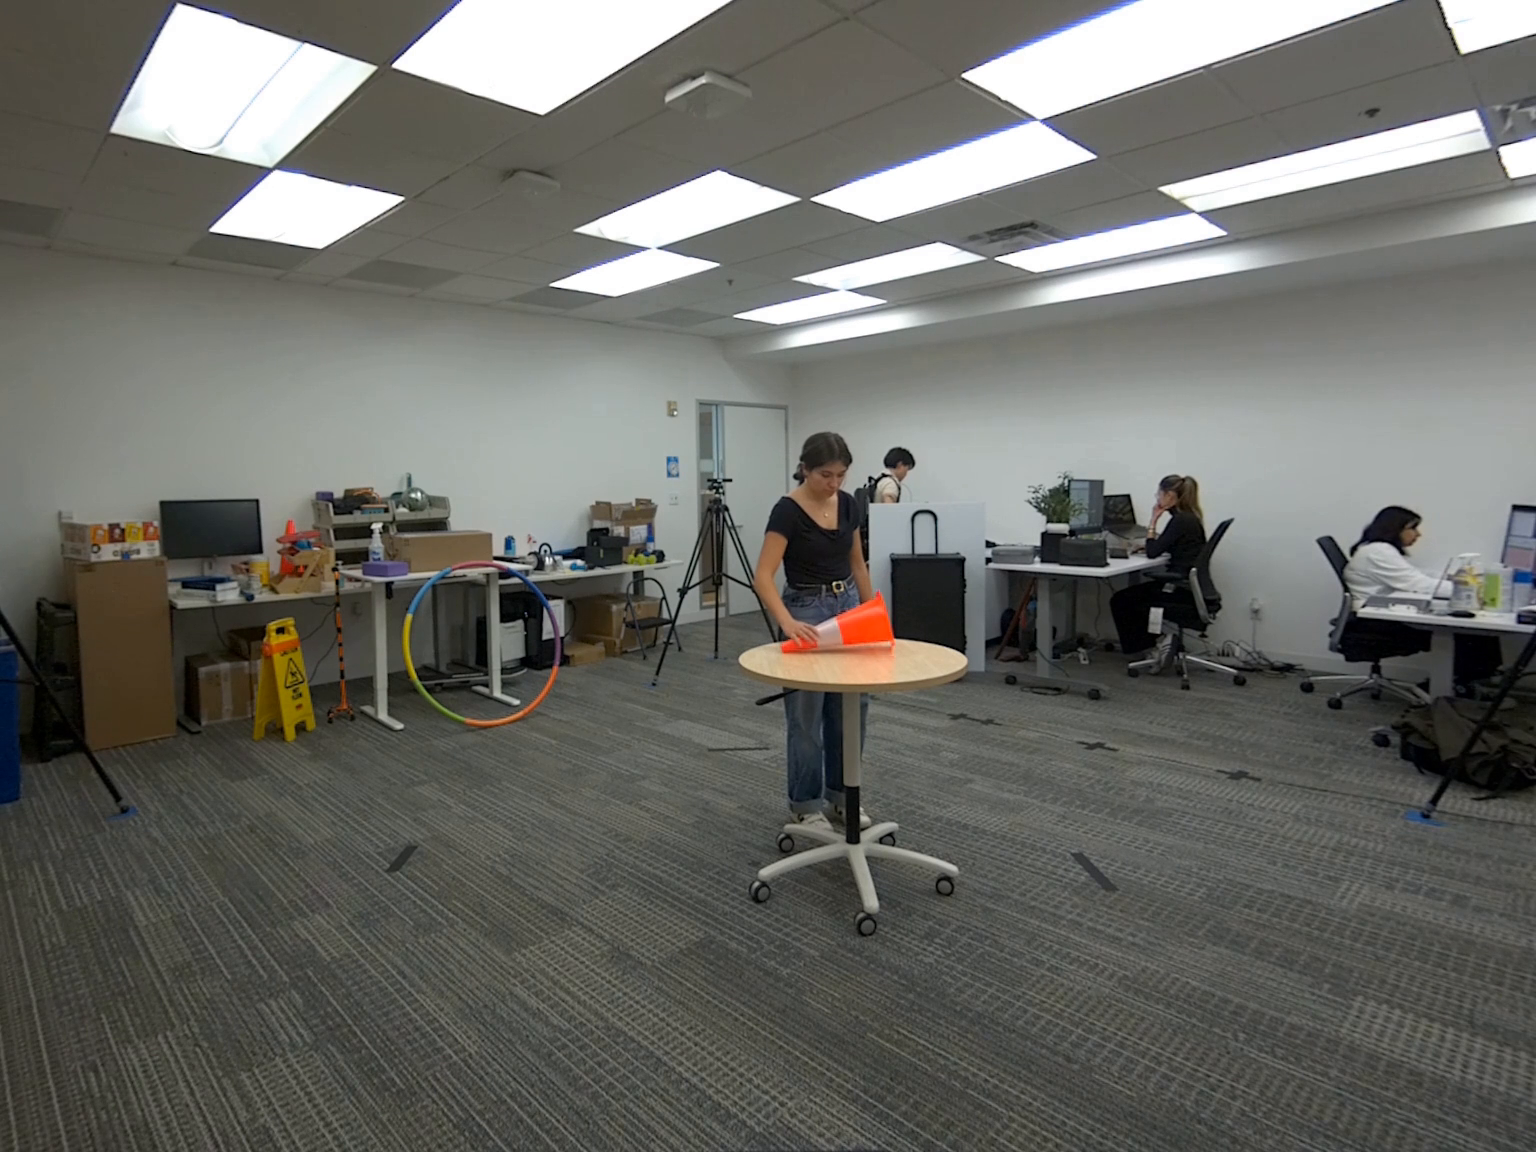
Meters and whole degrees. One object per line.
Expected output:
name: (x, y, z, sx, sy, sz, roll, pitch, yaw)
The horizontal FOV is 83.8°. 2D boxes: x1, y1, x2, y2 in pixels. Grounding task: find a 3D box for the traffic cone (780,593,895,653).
traffic cone: (0.231, 0.206, 3.025, 0.384, 0.206, 0.202, -16, -9, 1)
